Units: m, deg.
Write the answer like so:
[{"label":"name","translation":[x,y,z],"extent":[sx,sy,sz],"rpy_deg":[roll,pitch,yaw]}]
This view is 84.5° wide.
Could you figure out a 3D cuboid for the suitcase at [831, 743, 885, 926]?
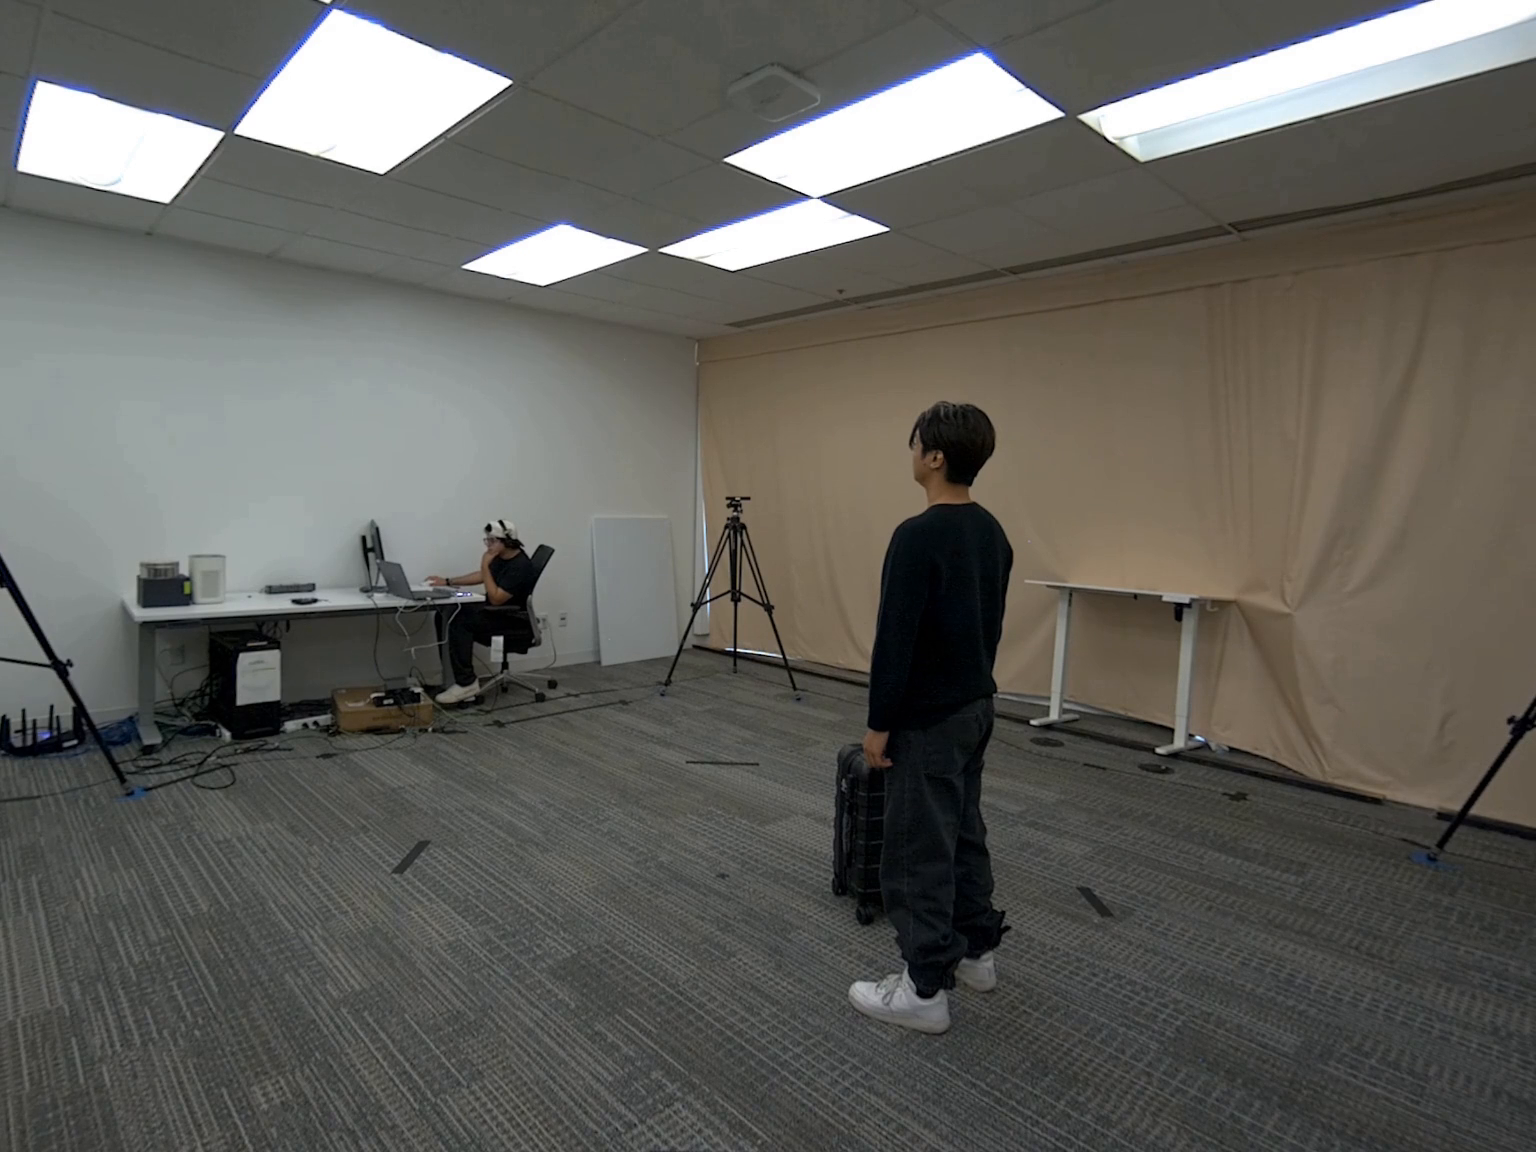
[{"label":"suitcase","translation":[0.418,0.860,2.920],"extent":[0.370,0.549,0.252],"rpy_deg":[1,1,-16]}]
